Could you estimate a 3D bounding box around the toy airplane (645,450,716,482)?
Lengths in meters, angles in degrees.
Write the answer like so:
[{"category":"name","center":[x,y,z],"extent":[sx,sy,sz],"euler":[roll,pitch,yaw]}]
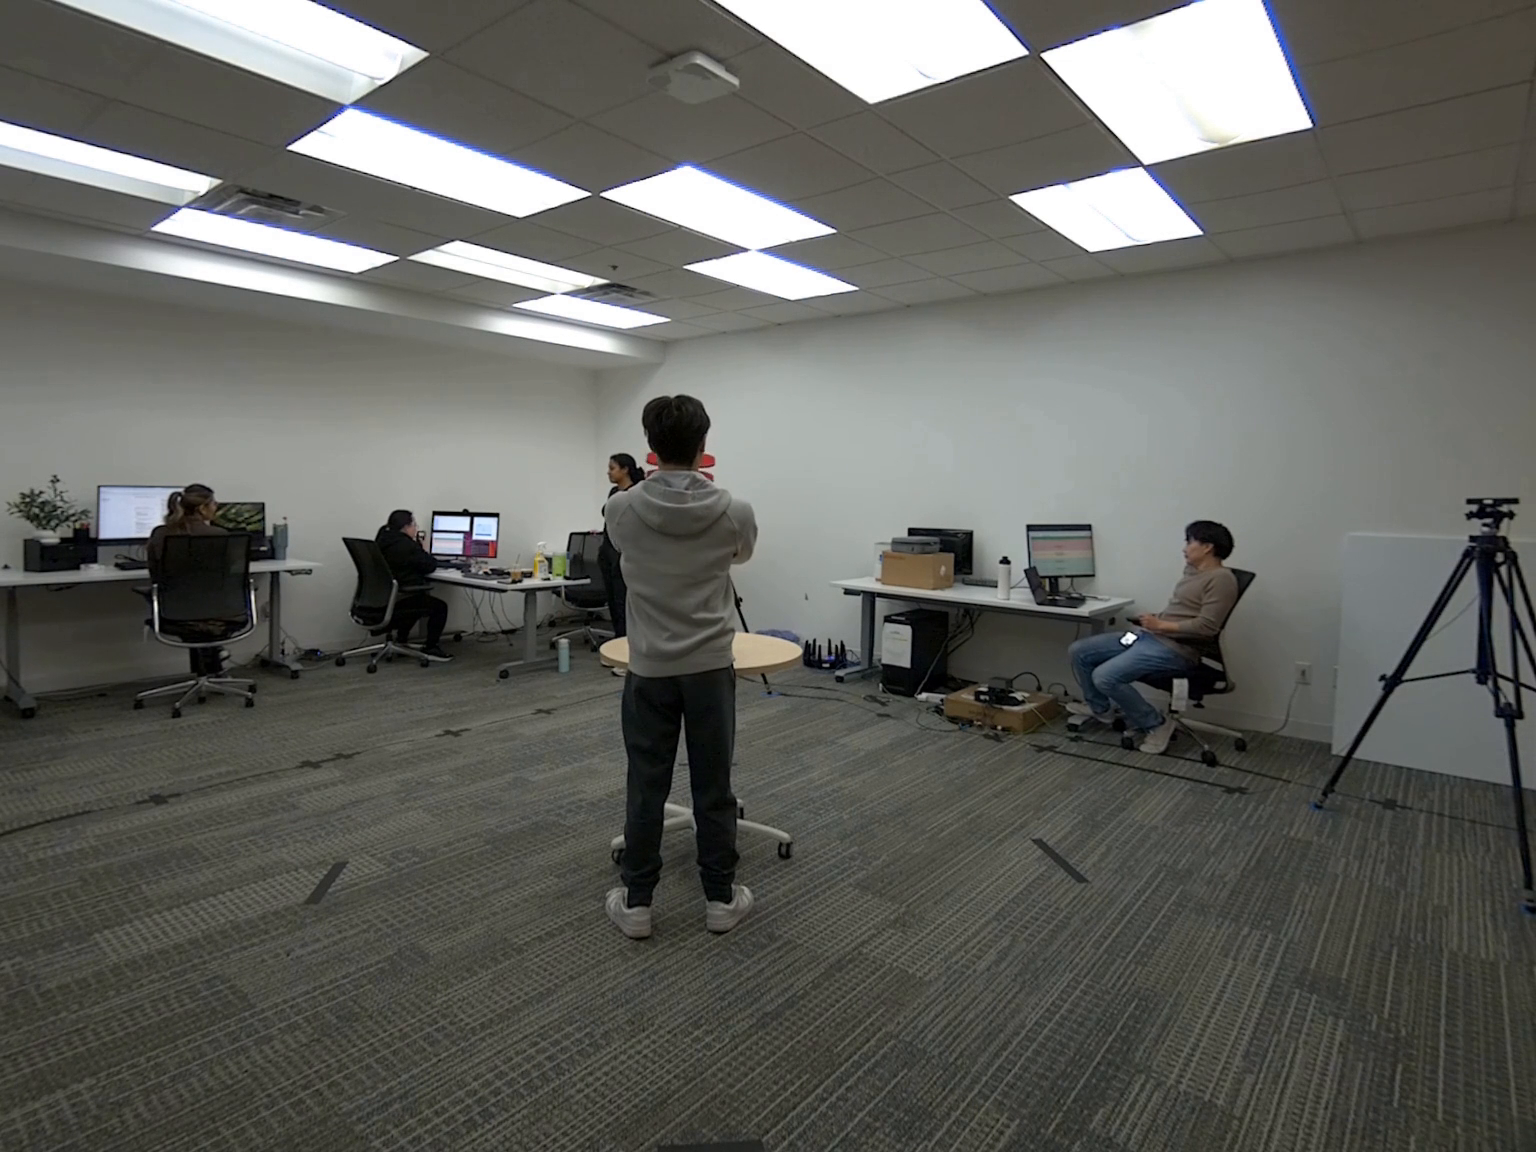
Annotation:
[{"category":"toy airplane","center":[-0.310,-0.322,3.117],"extent":[0.245,0.153,0.270],"euler":[-12,30,-31]}]
